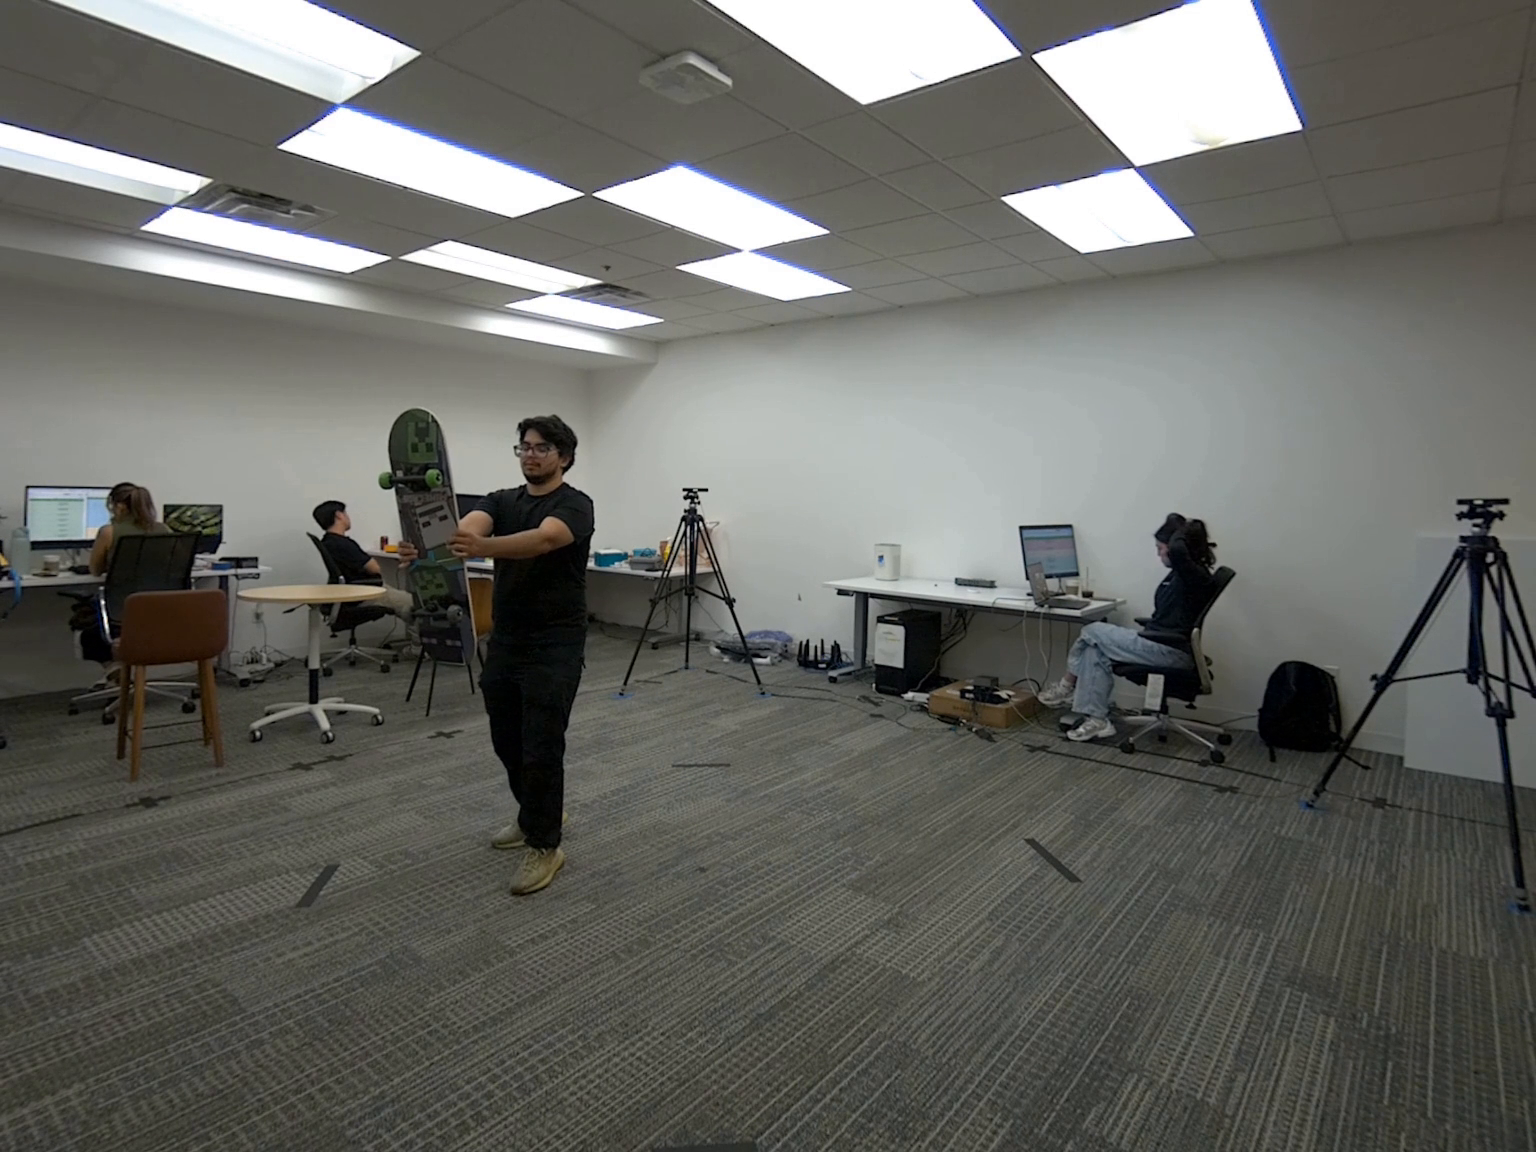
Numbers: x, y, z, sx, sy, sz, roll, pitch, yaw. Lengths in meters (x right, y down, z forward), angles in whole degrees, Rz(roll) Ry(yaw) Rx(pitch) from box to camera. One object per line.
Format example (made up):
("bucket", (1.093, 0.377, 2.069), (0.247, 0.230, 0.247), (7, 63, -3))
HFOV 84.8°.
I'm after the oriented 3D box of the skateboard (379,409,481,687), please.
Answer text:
("skateboard", (-1.006, -0.090, 2.479), (0.196, 0.776, 0.110), (-1, 12, 14))
